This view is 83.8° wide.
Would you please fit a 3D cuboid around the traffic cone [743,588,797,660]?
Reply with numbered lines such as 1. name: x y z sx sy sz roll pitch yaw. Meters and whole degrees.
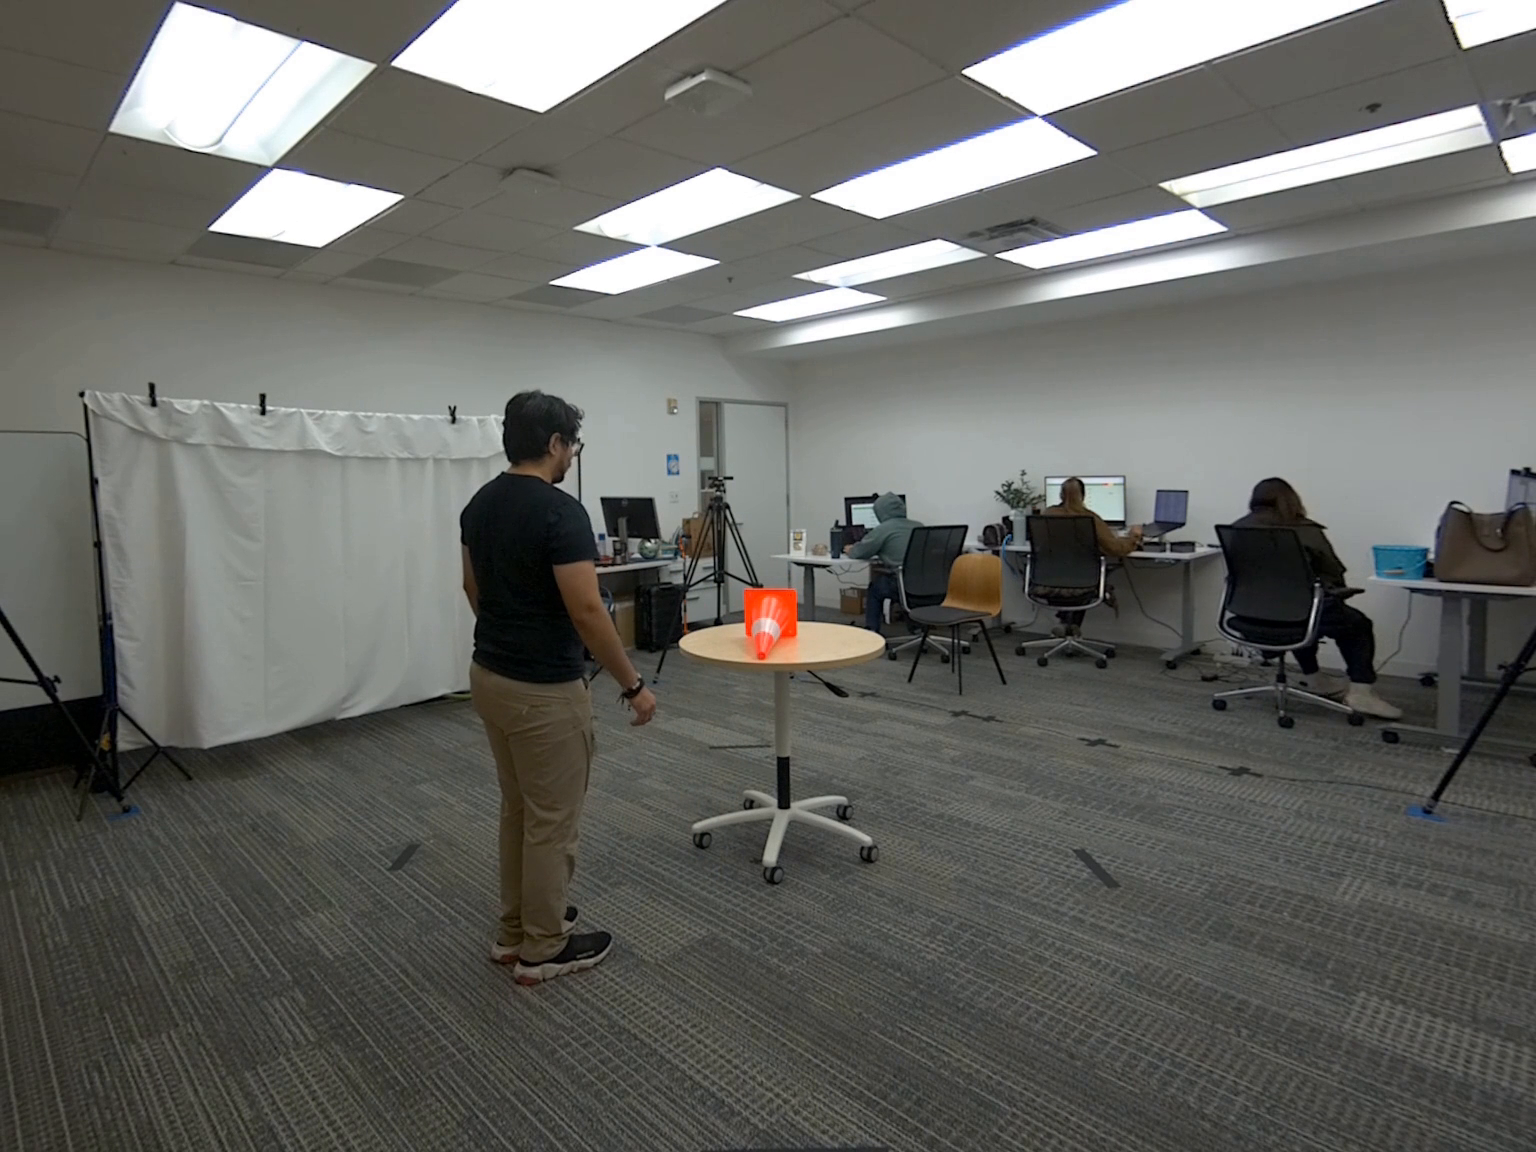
1. traffic cone: 0.003 0.218 3.044 0.205 0.200 0.390 7 21 -2
